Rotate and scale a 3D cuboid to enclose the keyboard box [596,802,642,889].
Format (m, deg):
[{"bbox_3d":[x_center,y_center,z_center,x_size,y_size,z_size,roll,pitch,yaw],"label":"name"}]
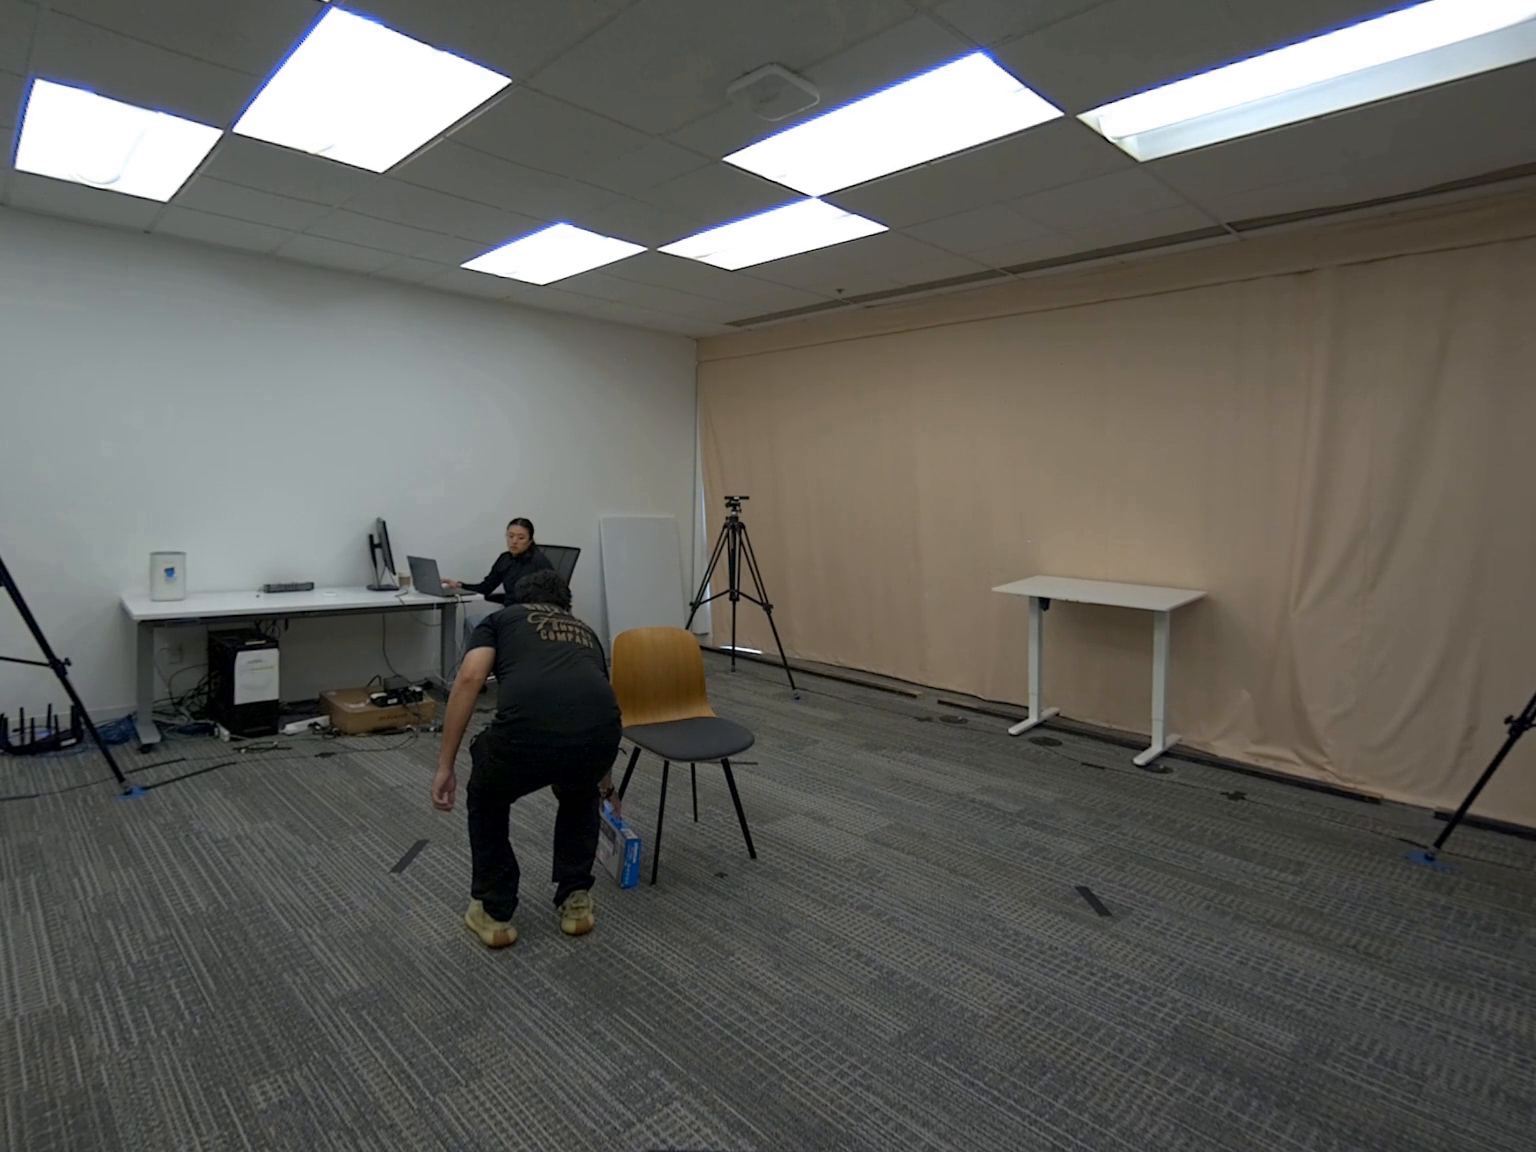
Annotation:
[{"bbox_3d":[-0.600,1.005,3.175,0.058,0.176,0.446,6,2,-29],"label":"keyboard box"}]
